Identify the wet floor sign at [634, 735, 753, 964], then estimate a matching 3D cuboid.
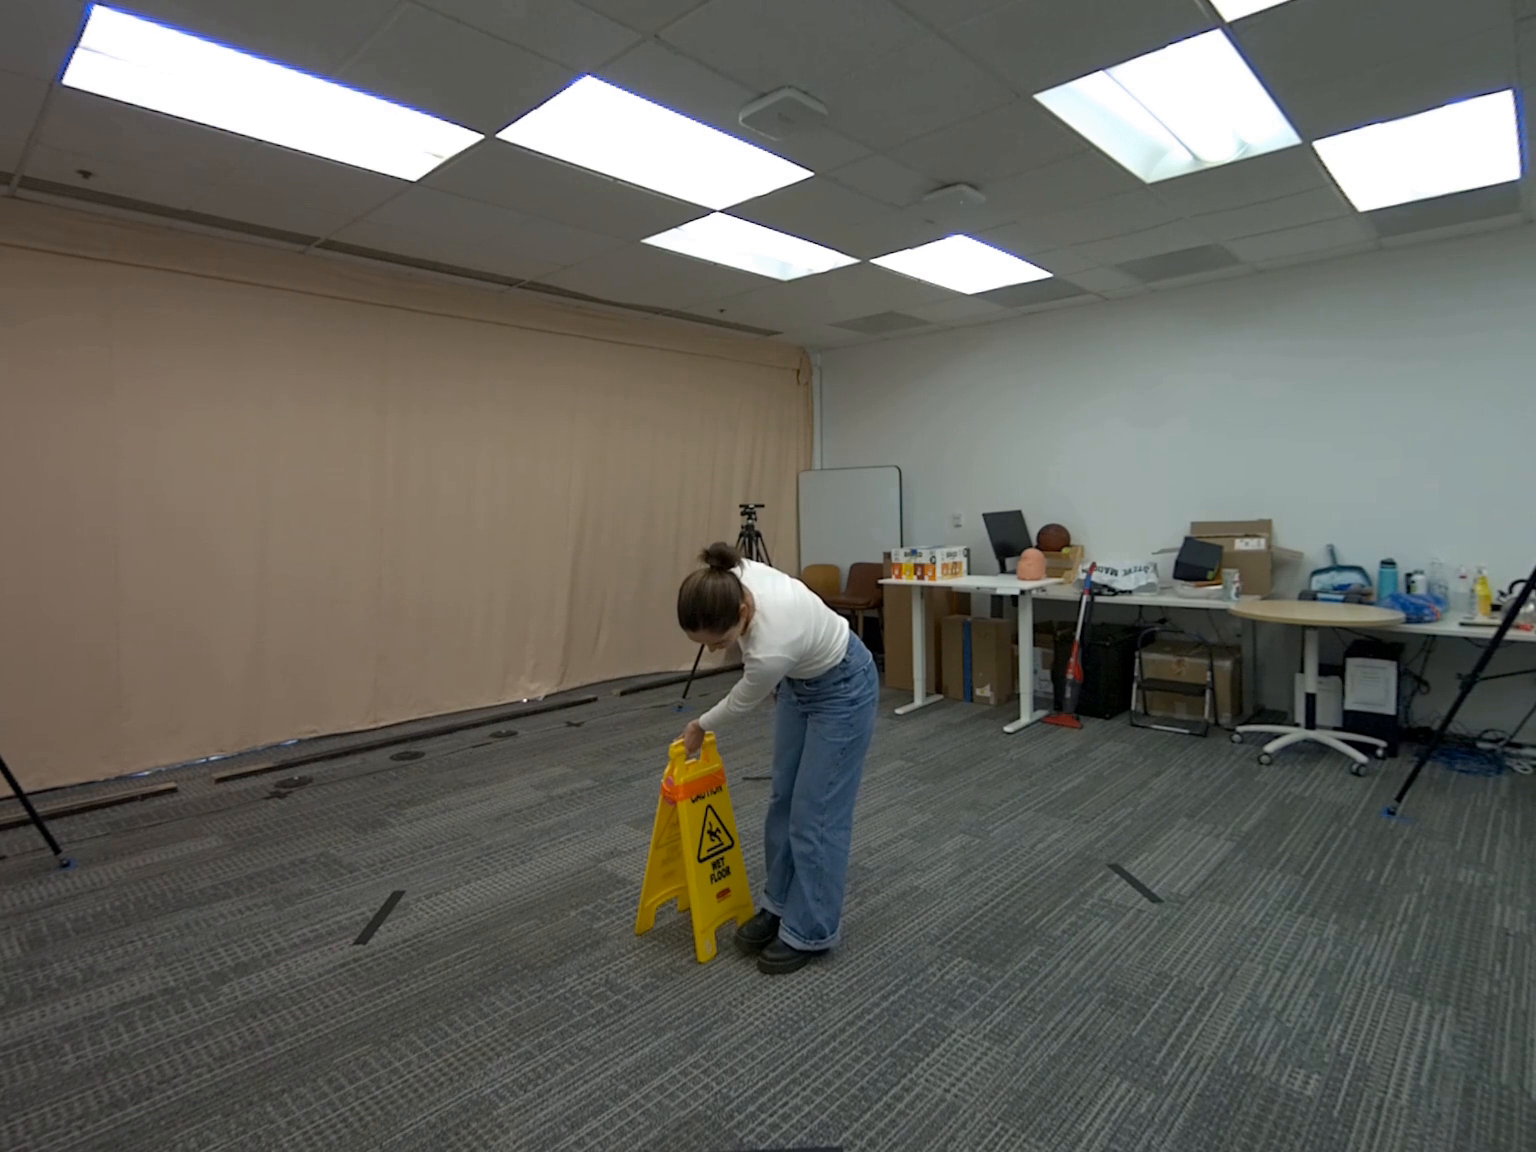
[{"bbox_3d":[-0.240,0.844,2.737,0.299,0.645,0.273,2,3,40],"label":"wet floor sign"}]
